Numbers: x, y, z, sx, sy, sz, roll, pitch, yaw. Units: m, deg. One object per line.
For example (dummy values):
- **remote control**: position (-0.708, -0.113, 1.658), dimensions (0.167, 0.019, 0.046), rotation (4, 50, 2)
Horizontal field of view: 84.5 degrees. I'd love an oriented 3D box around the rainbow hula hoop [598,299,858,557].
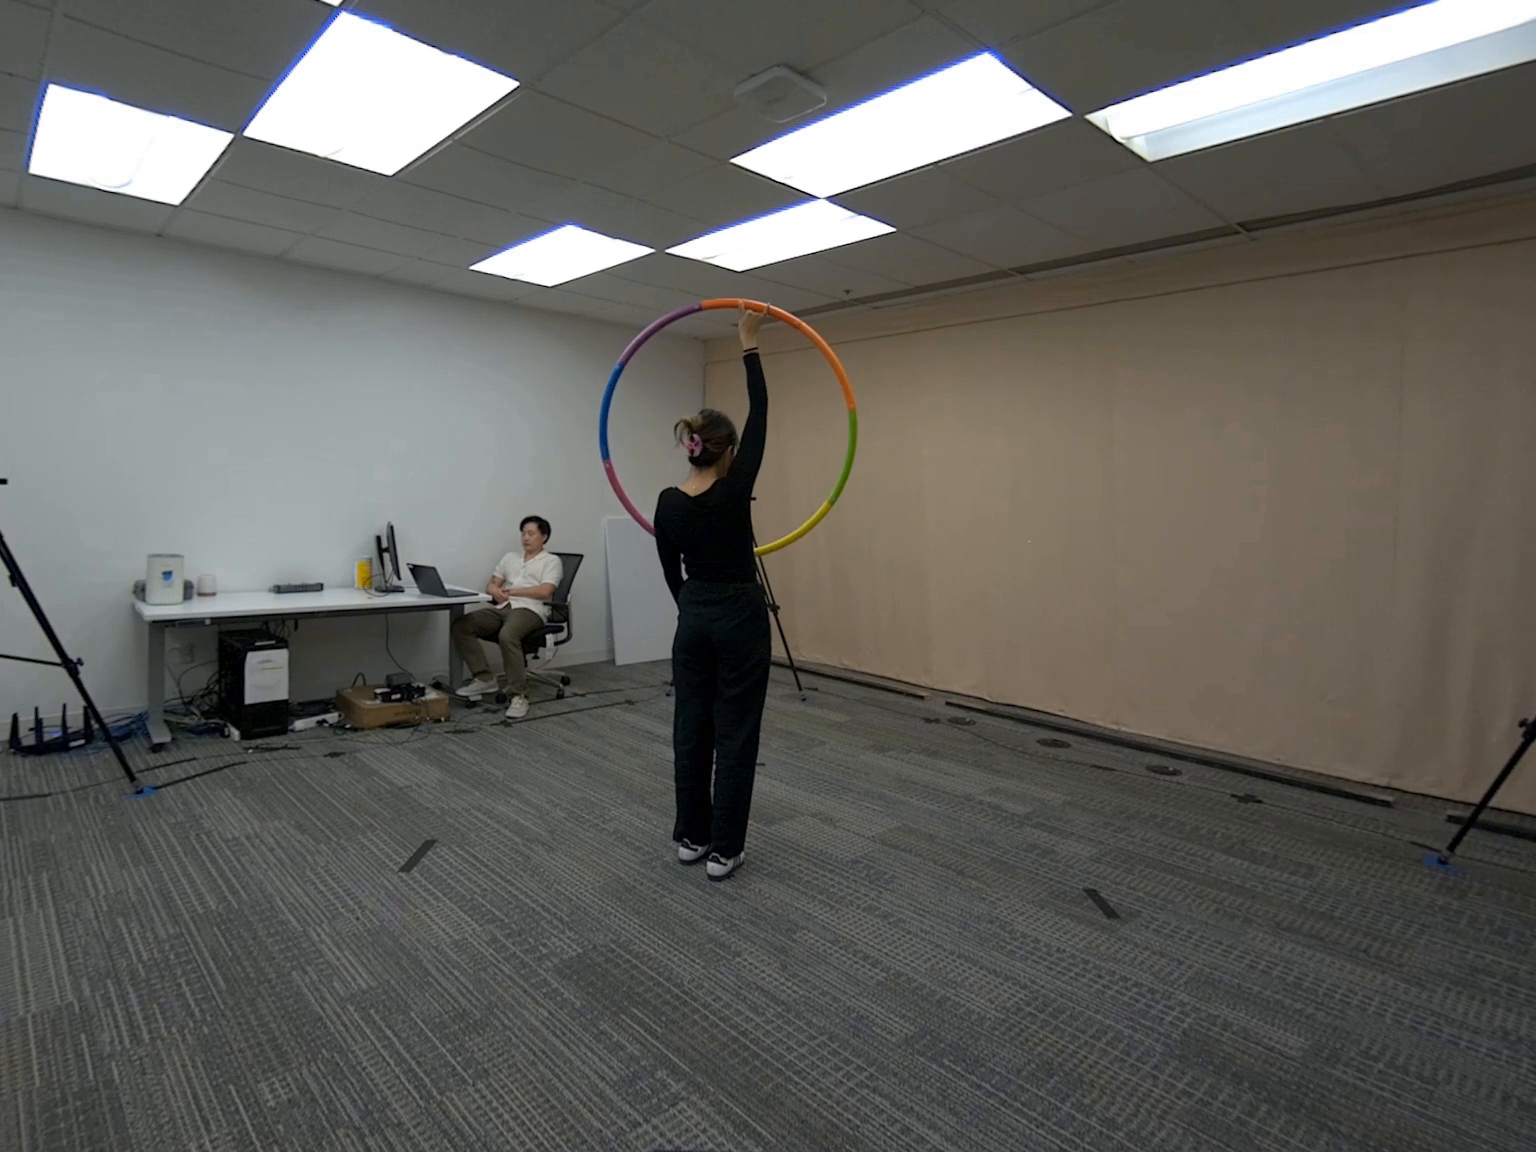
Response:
- **rainbow hula hoop**: position (-0.154, -0.533, 3.195), dimensions (0.985, 0.974, 0.052), rotation (2, 15, 0)
